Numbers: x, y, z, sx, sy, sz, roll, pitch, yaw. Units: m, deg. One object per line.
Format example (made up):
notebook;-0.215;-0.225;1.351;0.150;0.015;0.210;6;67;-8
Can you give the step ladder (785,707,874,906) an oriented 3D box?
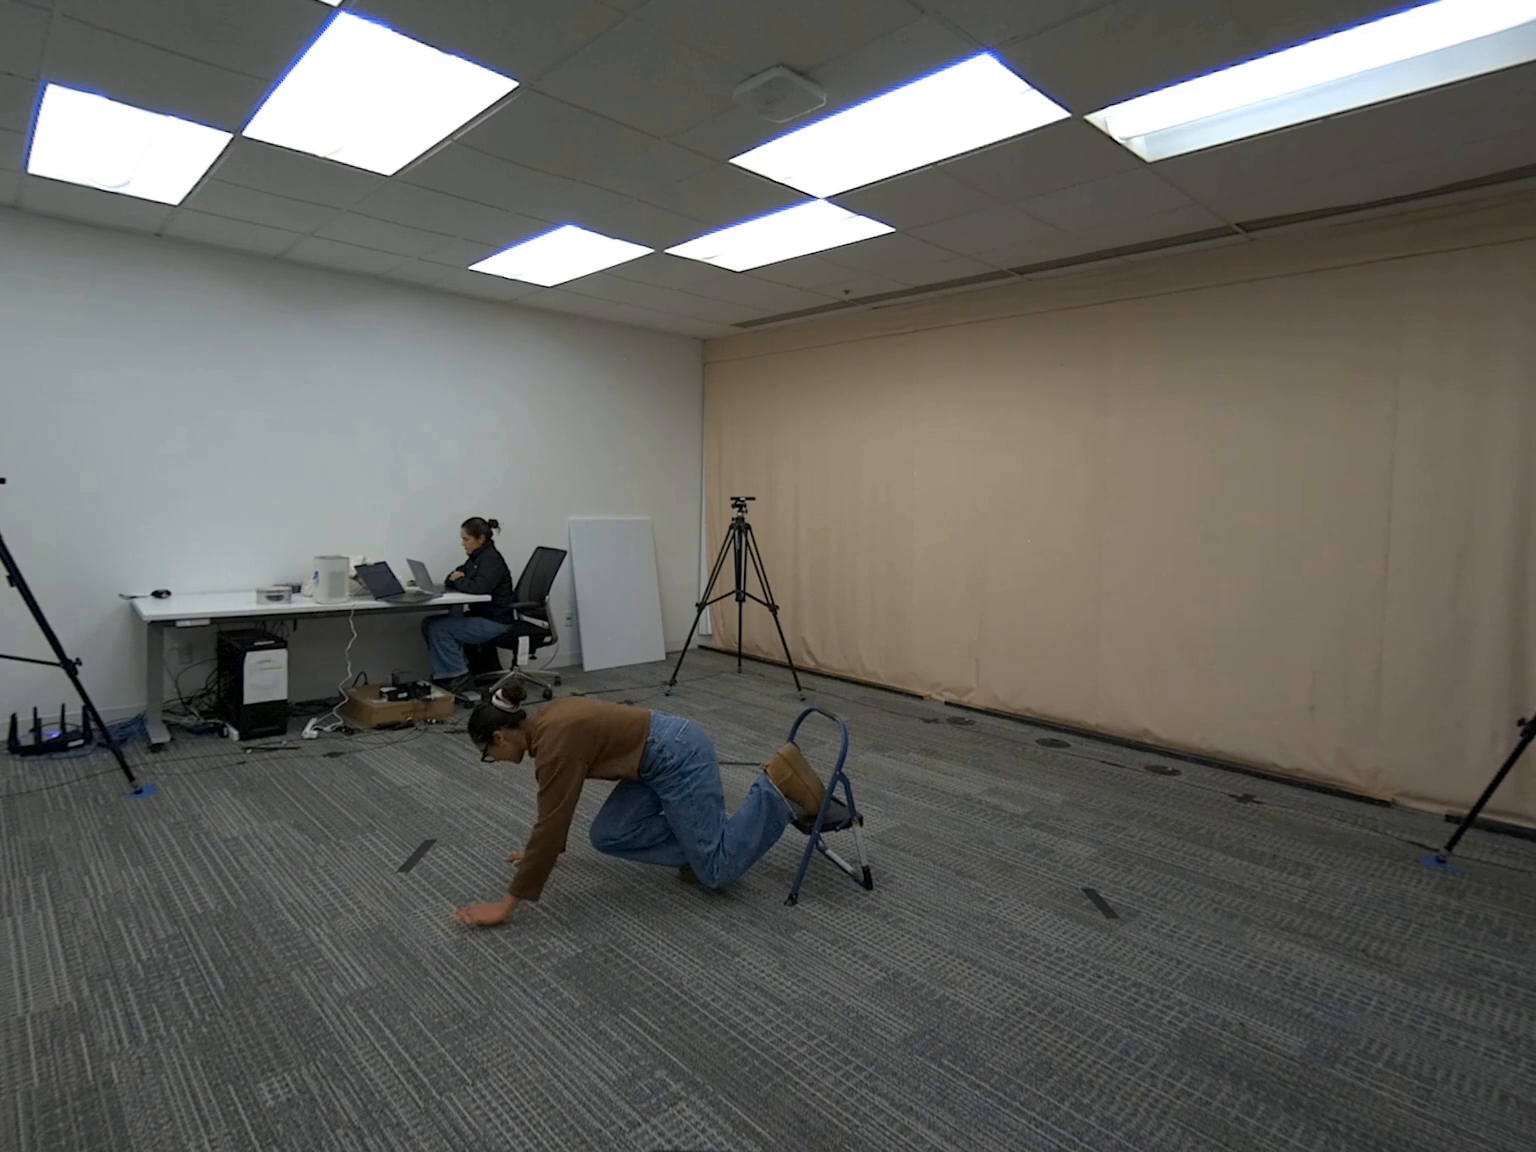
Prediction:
step ladder;0.143;0.812;3.125;0.343;0.605;0.439;-1;4;-24
